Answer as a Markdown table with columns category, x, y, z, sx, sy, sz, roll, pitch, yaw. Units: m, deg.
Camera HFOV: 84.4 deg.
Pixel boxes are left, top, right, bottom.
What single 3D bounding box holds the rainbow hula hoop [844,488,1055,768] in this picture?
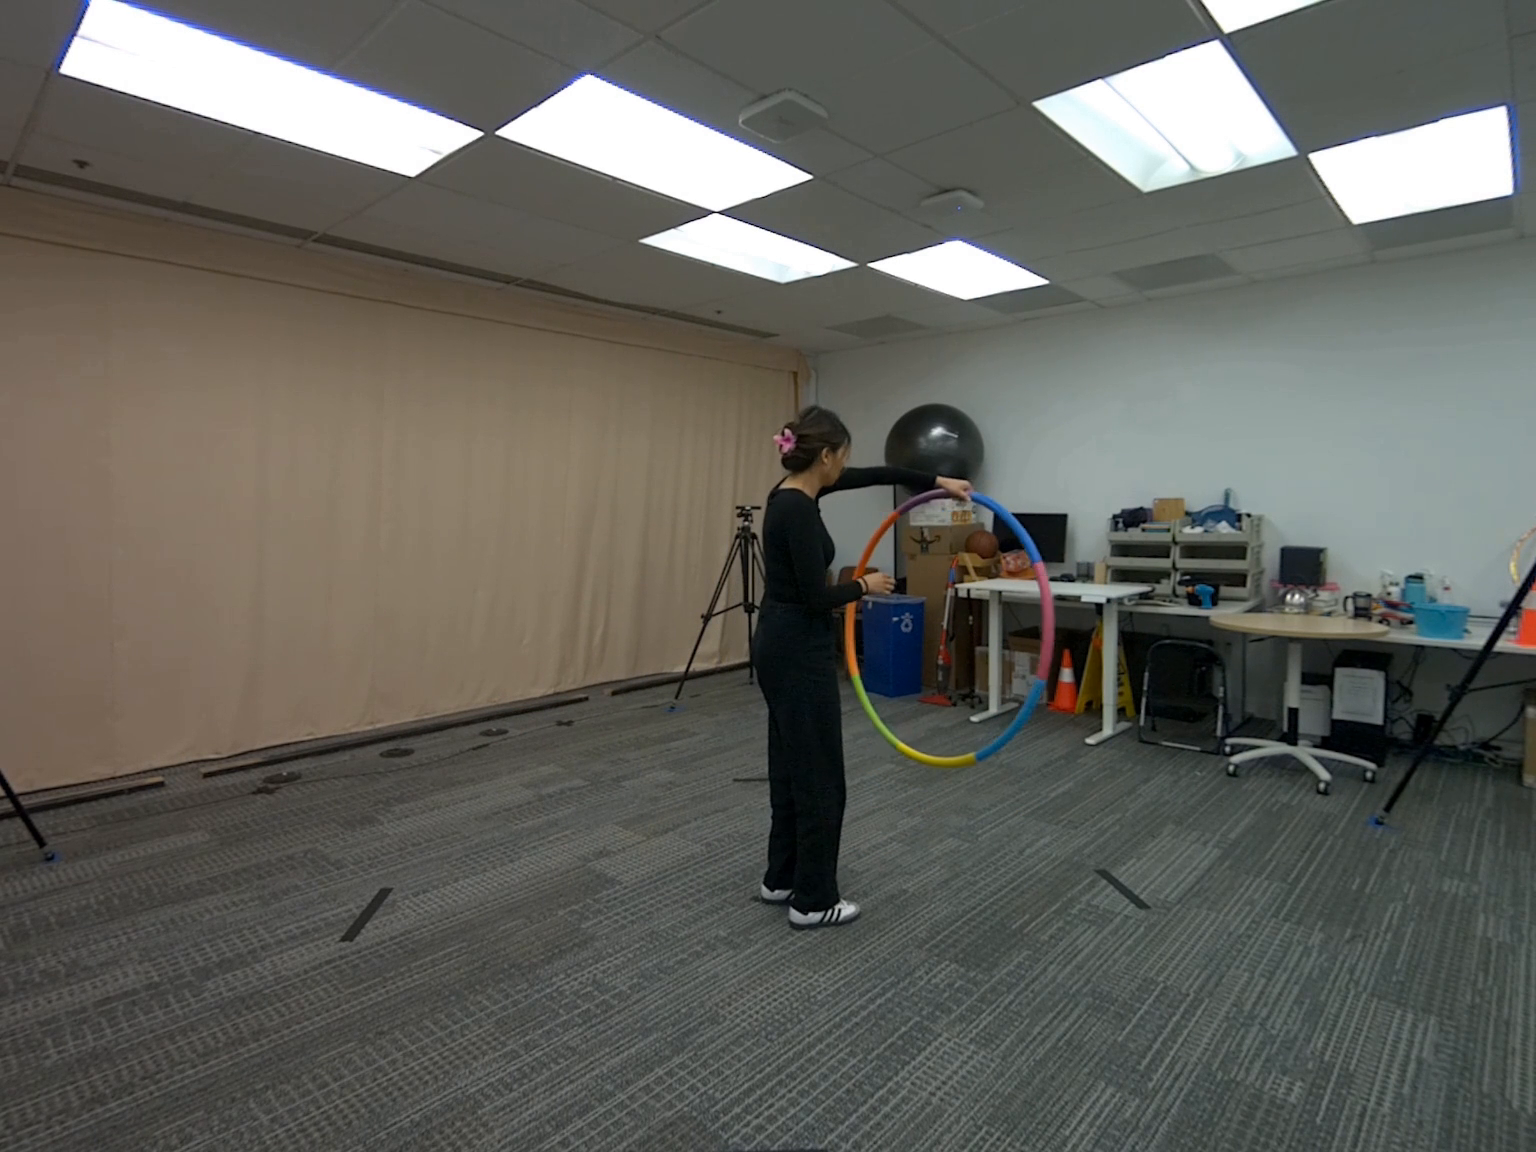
| category | x | y | z | sx | sy | sz | roll | pitch | yaw |
| --- | --- | --- | --- | --- | --- | --- | --- | --- | --- |
| rainbow hula hoop | 0.611 | 0.178 | 3.021 | 0.050 | 0.985 | 1.015 | 6 | 0 | -32 |
